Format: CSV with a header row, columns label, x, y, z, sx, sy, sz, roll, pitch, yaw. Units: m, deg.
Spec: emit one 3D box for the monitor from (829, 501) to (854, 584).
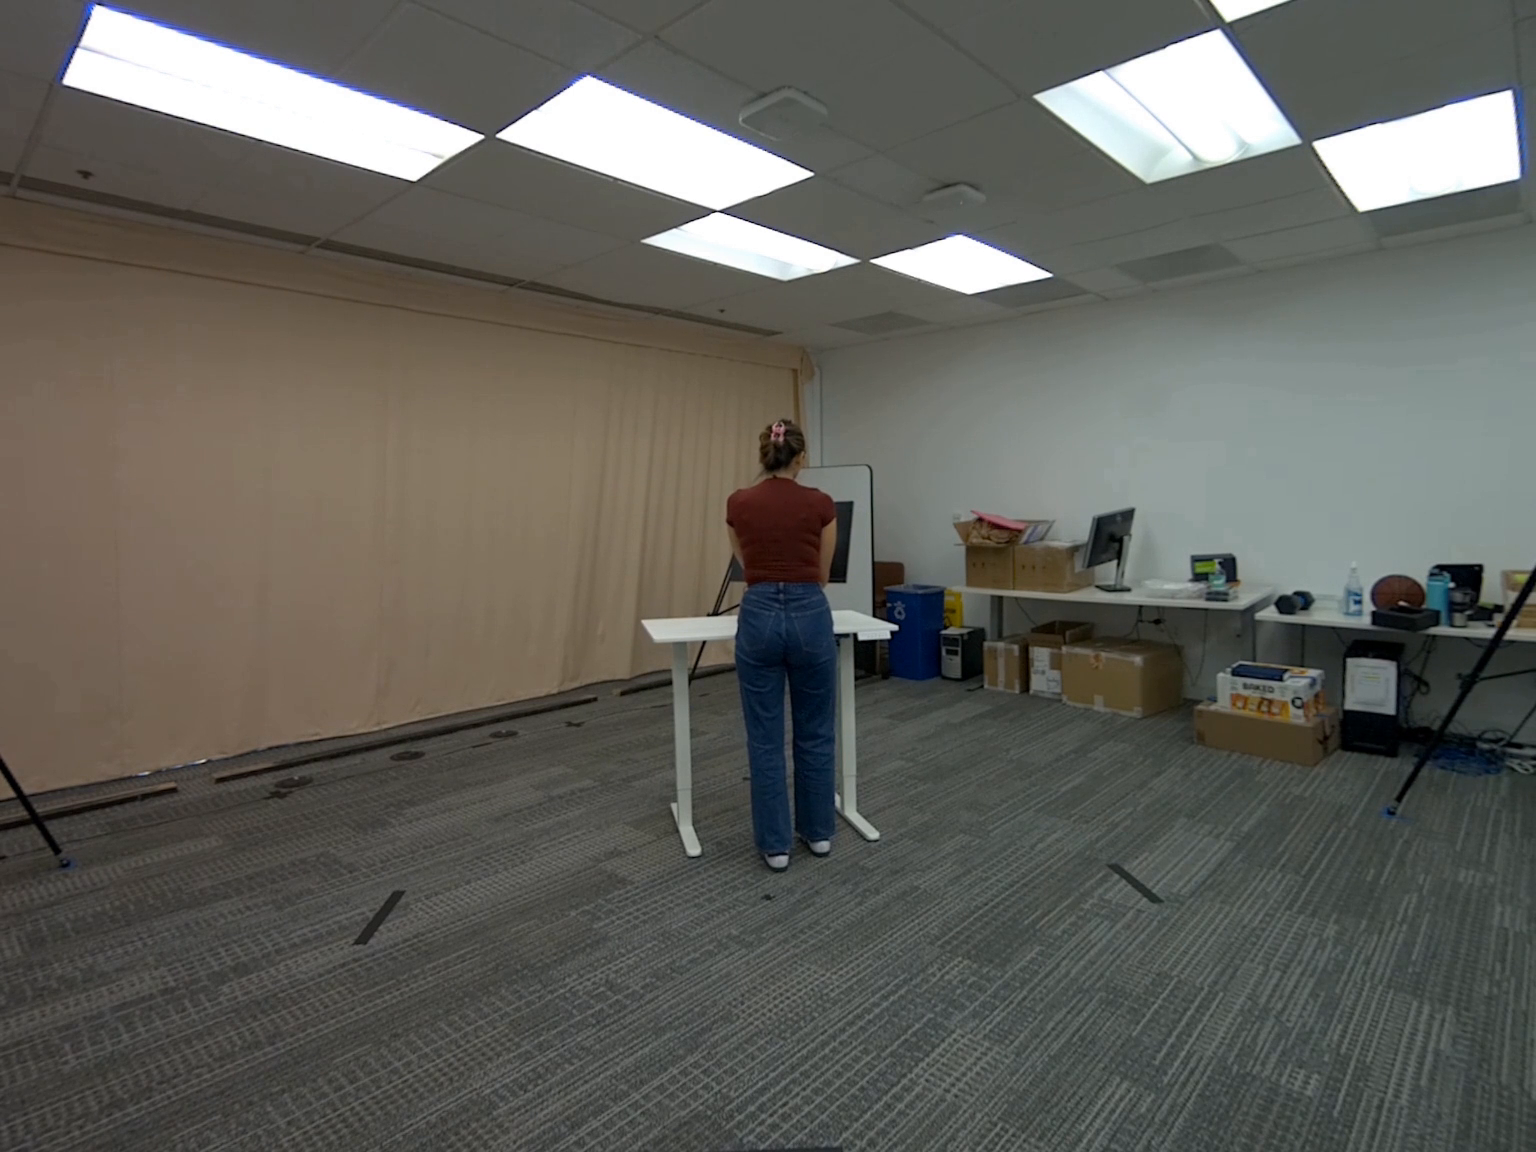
label,x,y,z,sx,sy,sz,roll,pitch,yaw
monitor,0.121,-0.054,3.614,0.553,0.523,0.182,0,0,26
